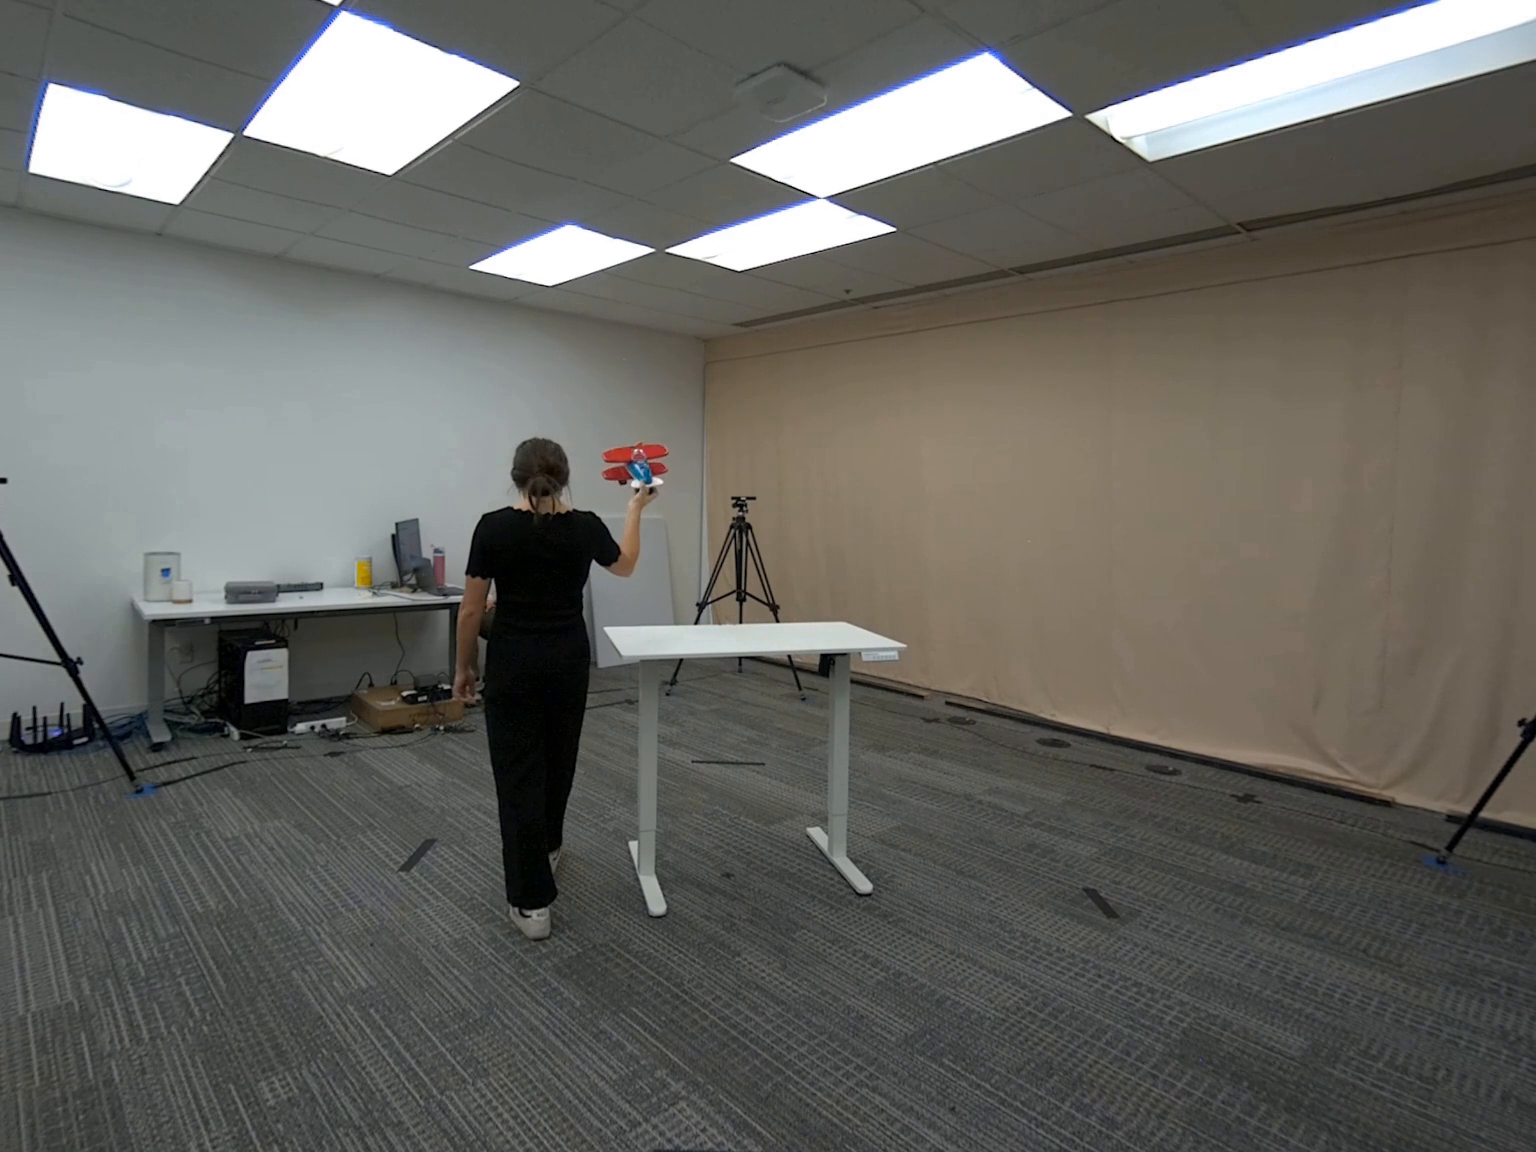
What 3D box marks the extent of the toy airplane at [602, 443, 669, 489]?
[{"bbox_3d":[-0.487,-0.400,3.211,0.266,0.154,0.248,17,29,35],"label":"toy airplane"}]
